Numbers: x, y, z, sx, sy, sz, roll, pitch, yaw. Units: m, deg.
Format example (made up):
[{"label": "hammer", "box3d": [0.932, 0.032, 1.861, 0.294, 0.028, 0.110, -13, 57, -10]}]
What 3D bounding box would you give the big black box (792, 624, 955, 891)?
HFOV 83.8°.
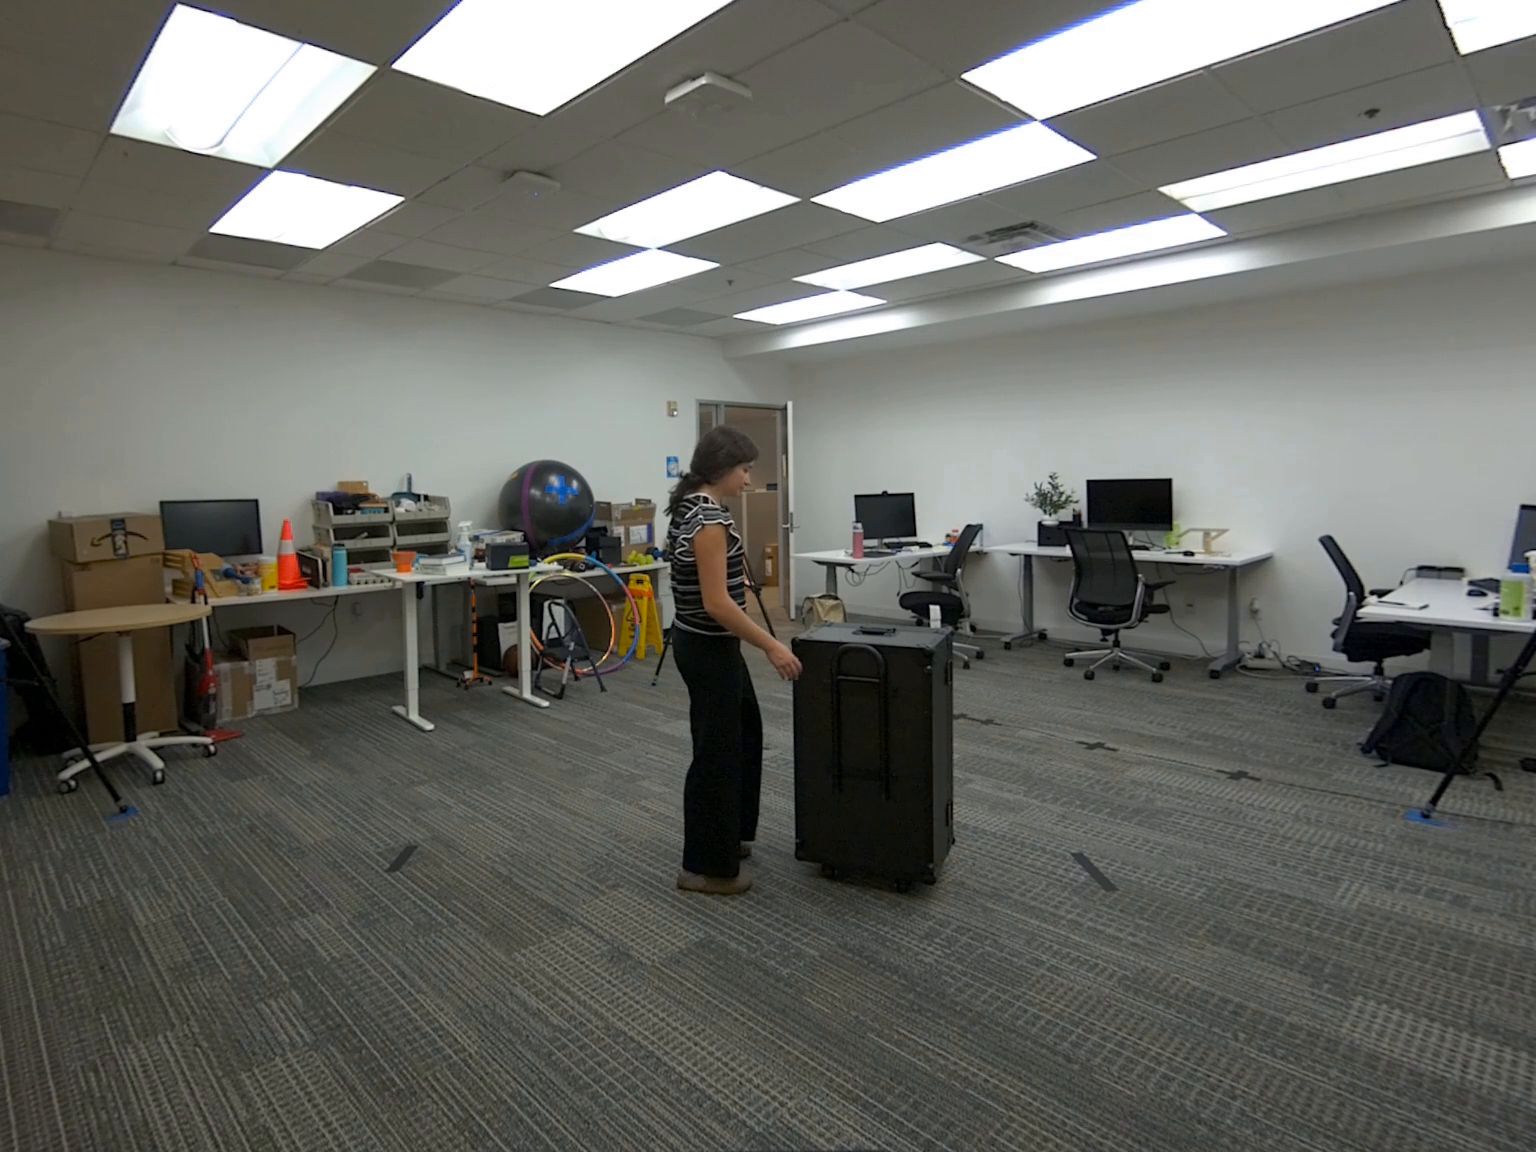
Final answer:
[{"label": "big black box", "box3d": [0.380, 0.622, 3.000, 0.533, 0.857, 0.389, 1, 6, 24]}]
